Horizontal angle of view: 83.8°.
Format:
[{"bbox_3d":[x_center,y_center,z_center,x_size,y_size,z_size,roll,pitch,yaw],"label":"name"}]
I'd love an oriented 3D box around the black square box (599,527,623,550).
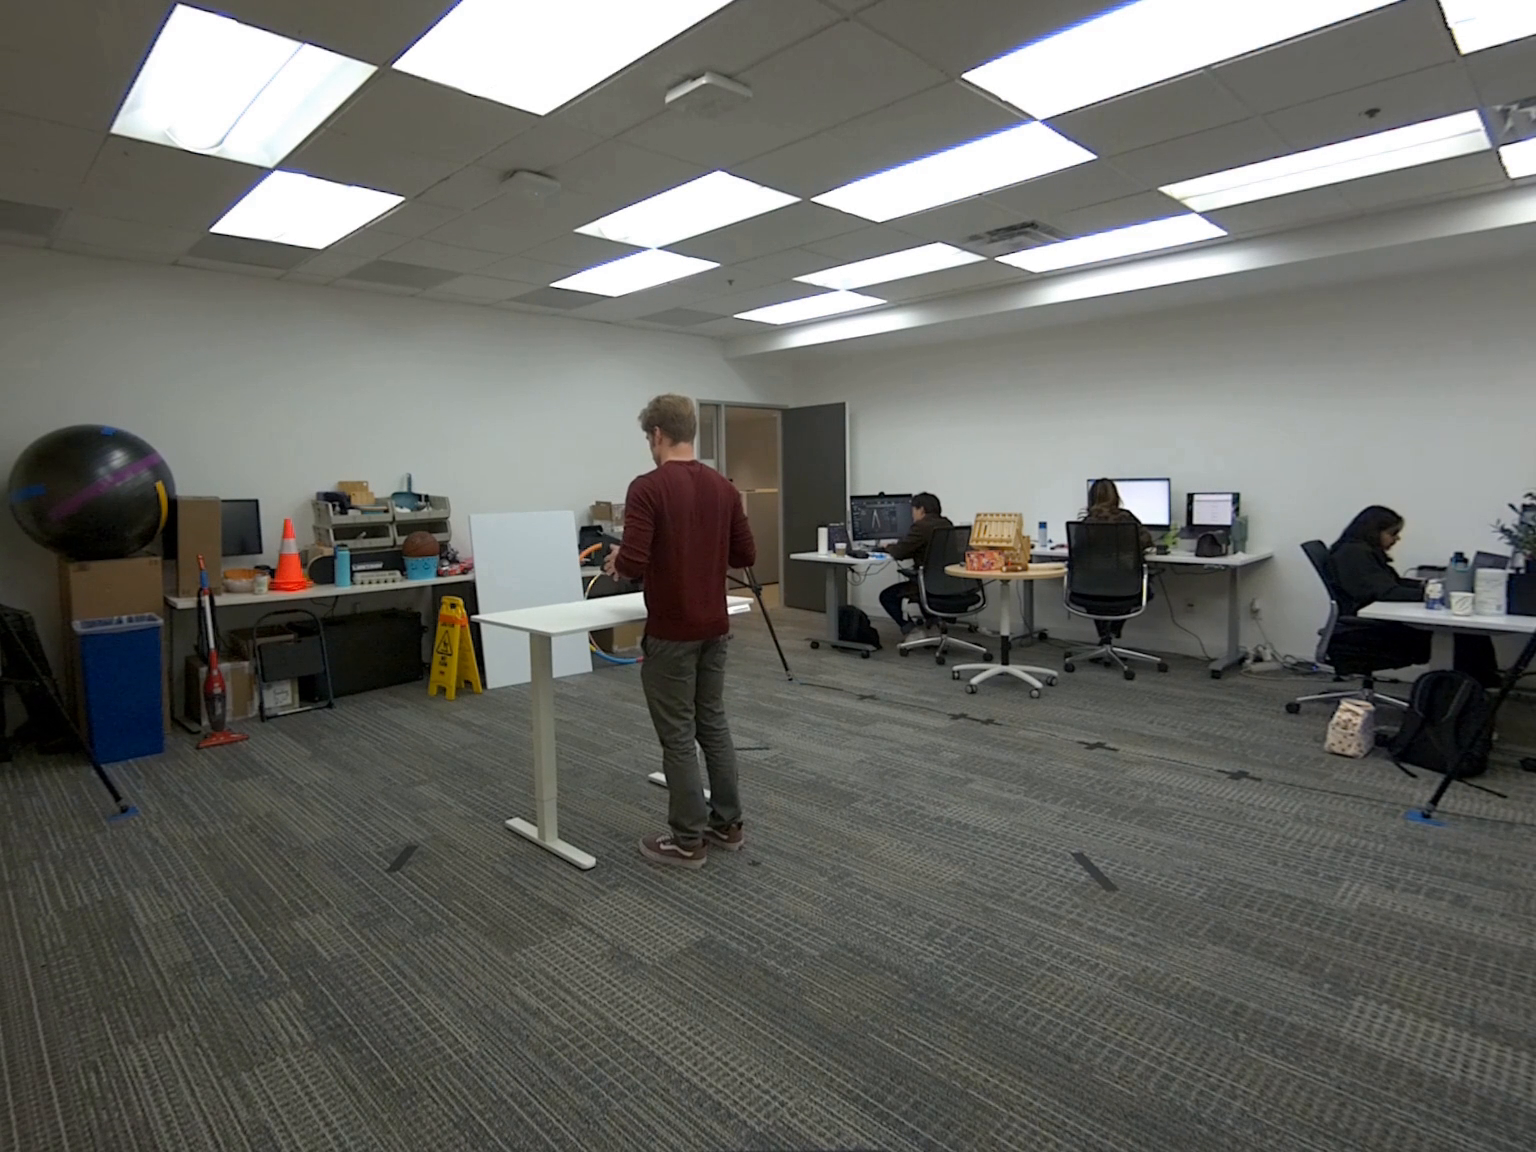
[{"bbox_3d":[-0.490,-0.084,3.340,0.222,0.154,0.225,-6,16,-42],"label":"black square box"}]
